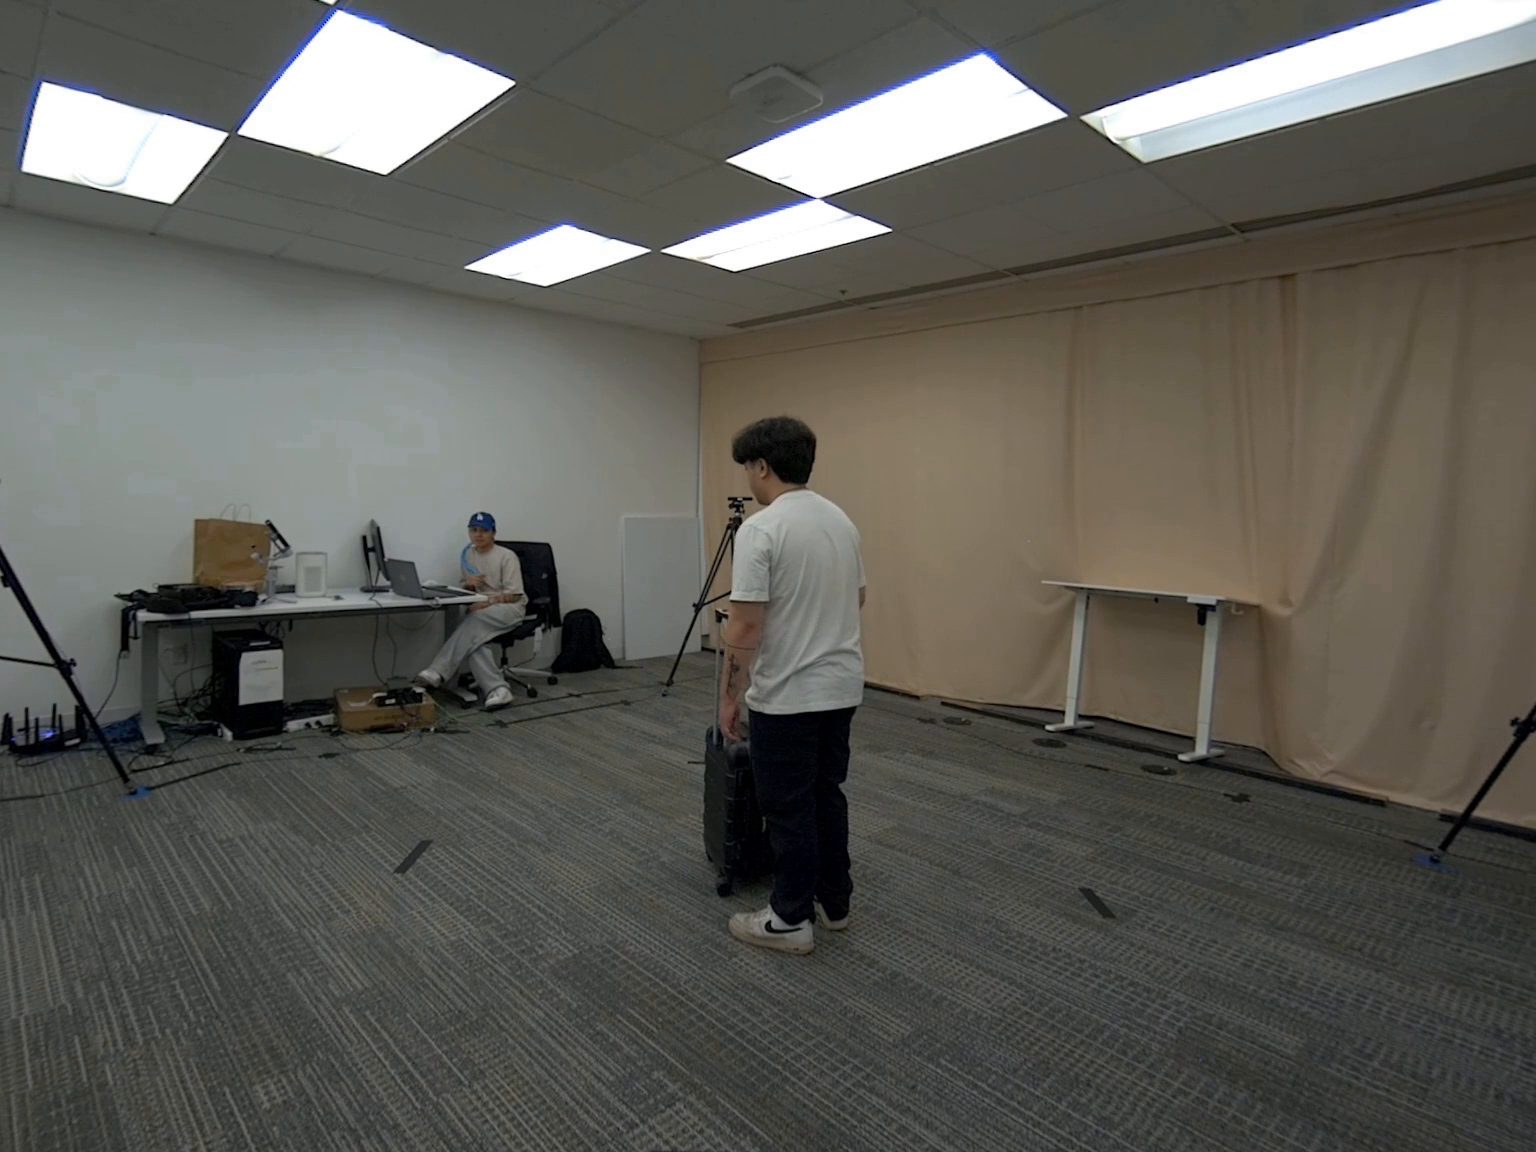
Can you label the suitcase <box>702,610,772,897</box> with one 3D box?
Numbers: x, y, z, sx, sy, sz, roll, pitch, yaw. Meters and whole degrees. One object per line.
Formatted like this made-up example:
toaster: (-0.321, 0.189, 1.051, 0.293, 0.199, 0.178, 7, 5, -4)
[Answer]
suitcase: (-0.081, 0.635, 3.107, 0.254, 0.975, 0.390, 2, 5, -15)
